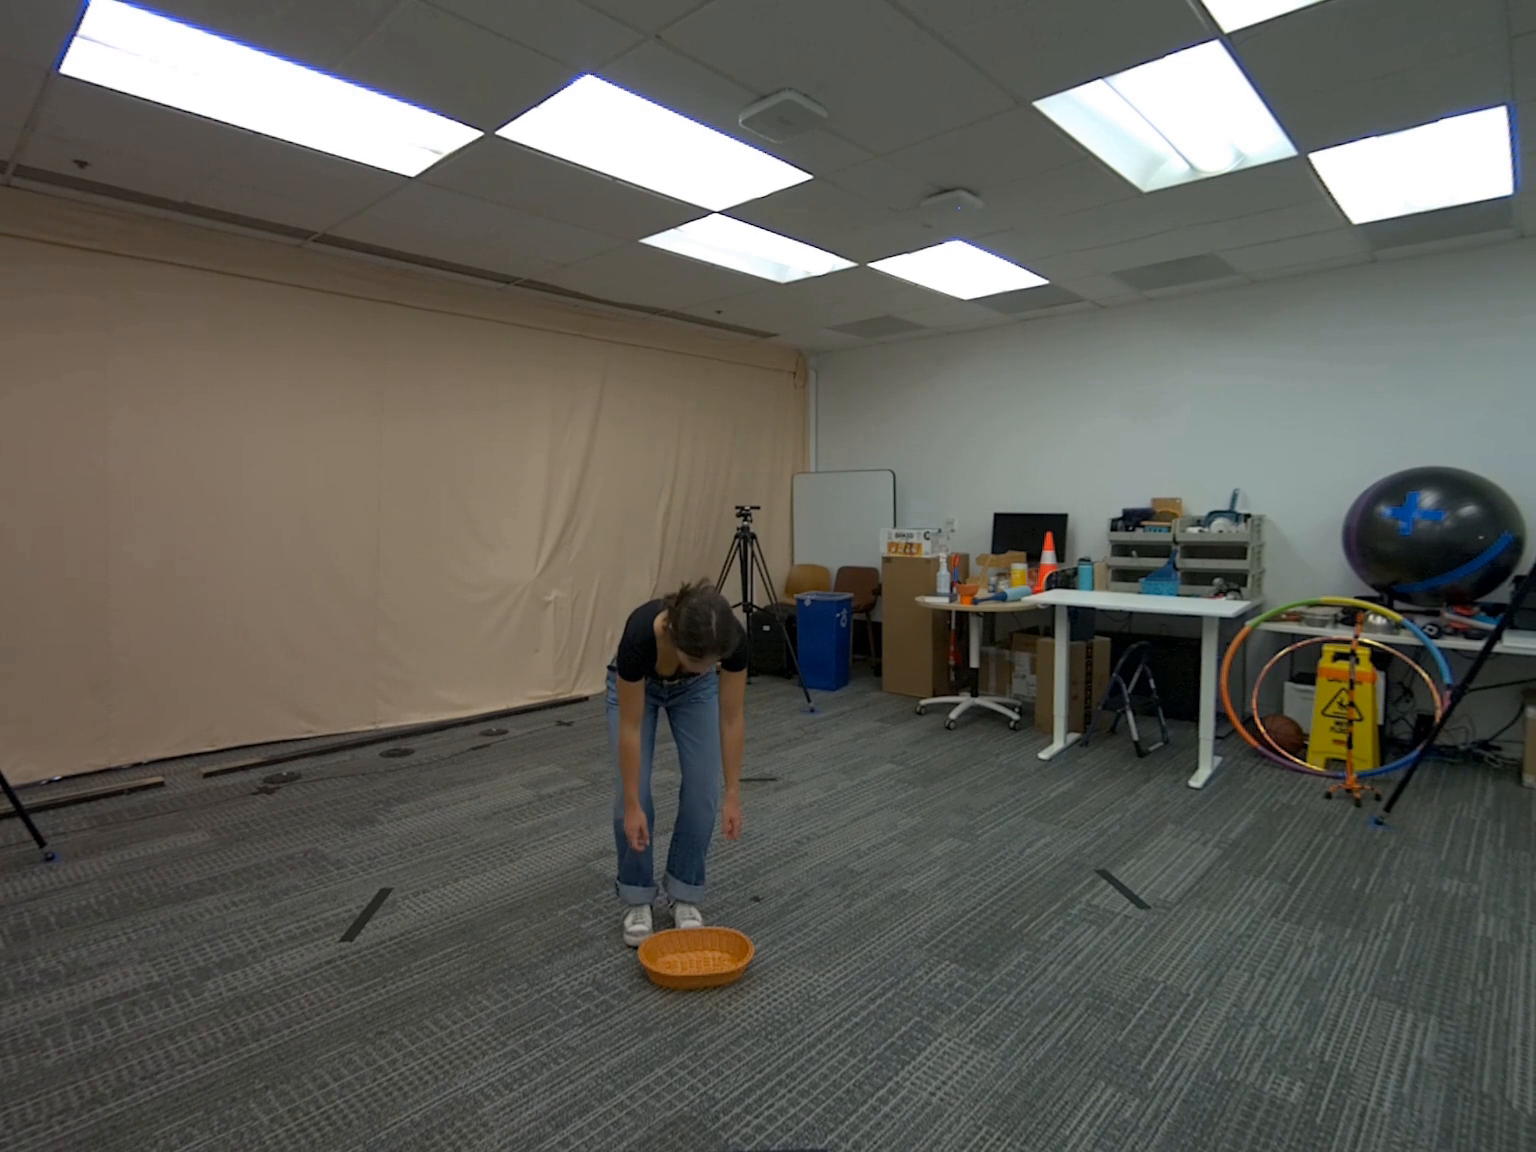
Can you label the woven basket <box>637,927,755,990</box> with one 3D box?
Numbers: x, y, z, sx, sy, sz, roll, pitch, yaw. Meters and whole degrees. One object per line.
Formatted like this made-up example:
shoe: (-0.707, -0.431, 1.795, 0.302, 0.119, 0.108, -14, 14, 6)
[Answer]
woven basket: (-0.209, 1.148, 2.510, 0.348, 0.073, 0.255, 0, 6, -7)
